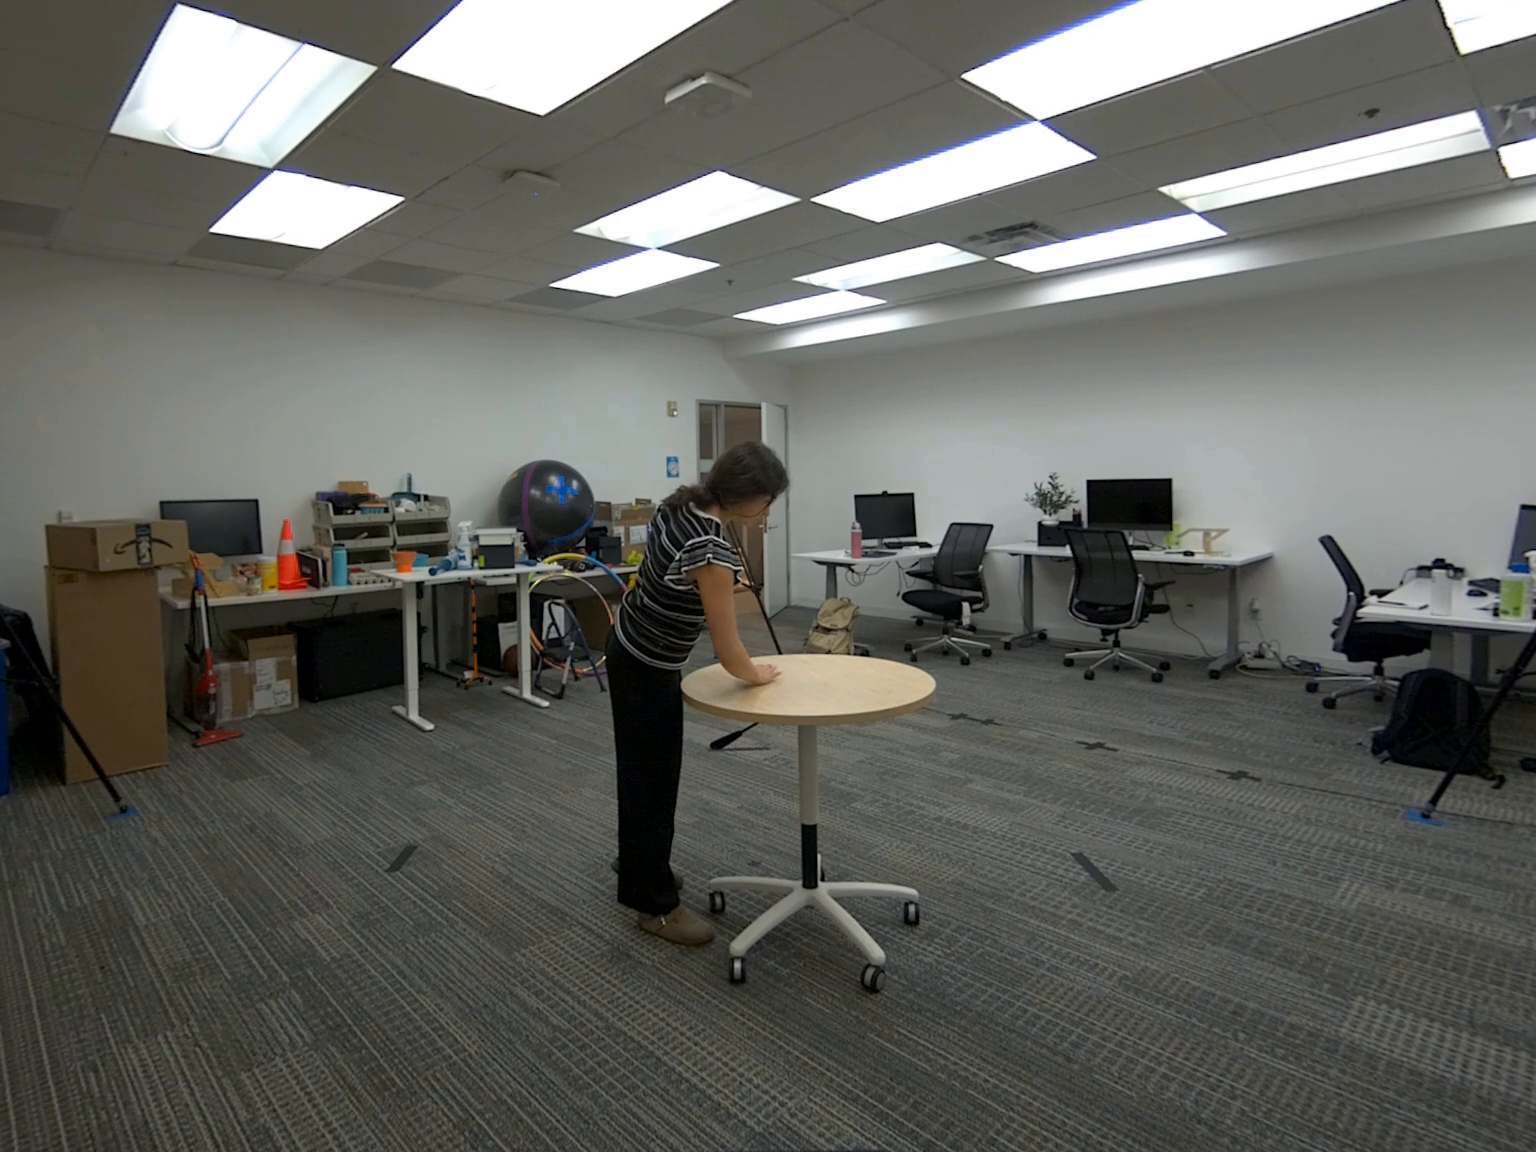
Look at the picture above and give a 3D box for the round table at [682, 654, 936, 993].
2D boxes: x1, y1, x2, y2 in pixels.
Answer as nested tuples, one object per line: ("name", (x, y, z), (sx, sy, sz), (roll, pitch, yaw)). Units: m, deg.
("round table", (0.133, 0.709, 2.617), (0.763, 0.791, 0.768), (-2, 5, -2))
